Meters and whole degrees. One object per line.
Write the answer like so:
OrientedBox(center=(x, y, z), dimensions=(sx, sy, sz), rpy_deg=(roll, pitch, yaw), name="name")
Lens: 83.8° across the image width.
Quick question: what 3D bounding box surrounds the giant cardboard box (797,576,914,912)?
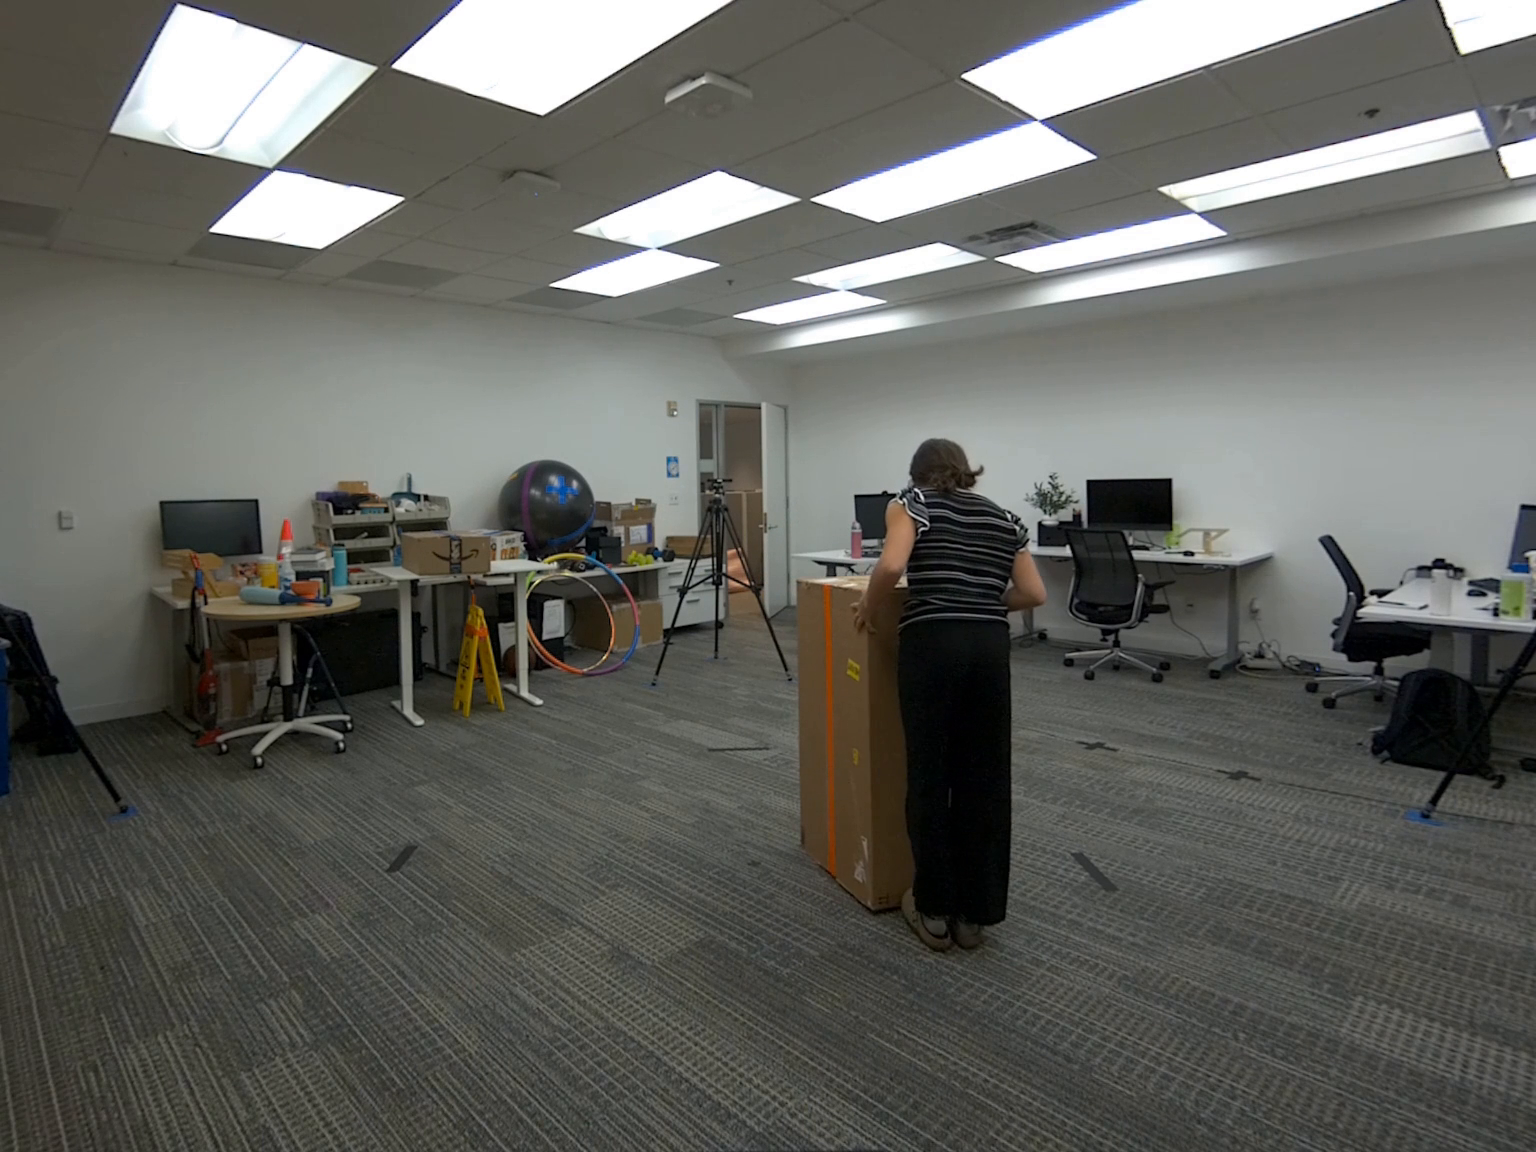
OrientedBox(center=(0.408, 0.533, 3.045), dimensions=(0.419, 1.024, 0.588), rpy_deg=(-2, 2, -20), name="giant cardboard box")
